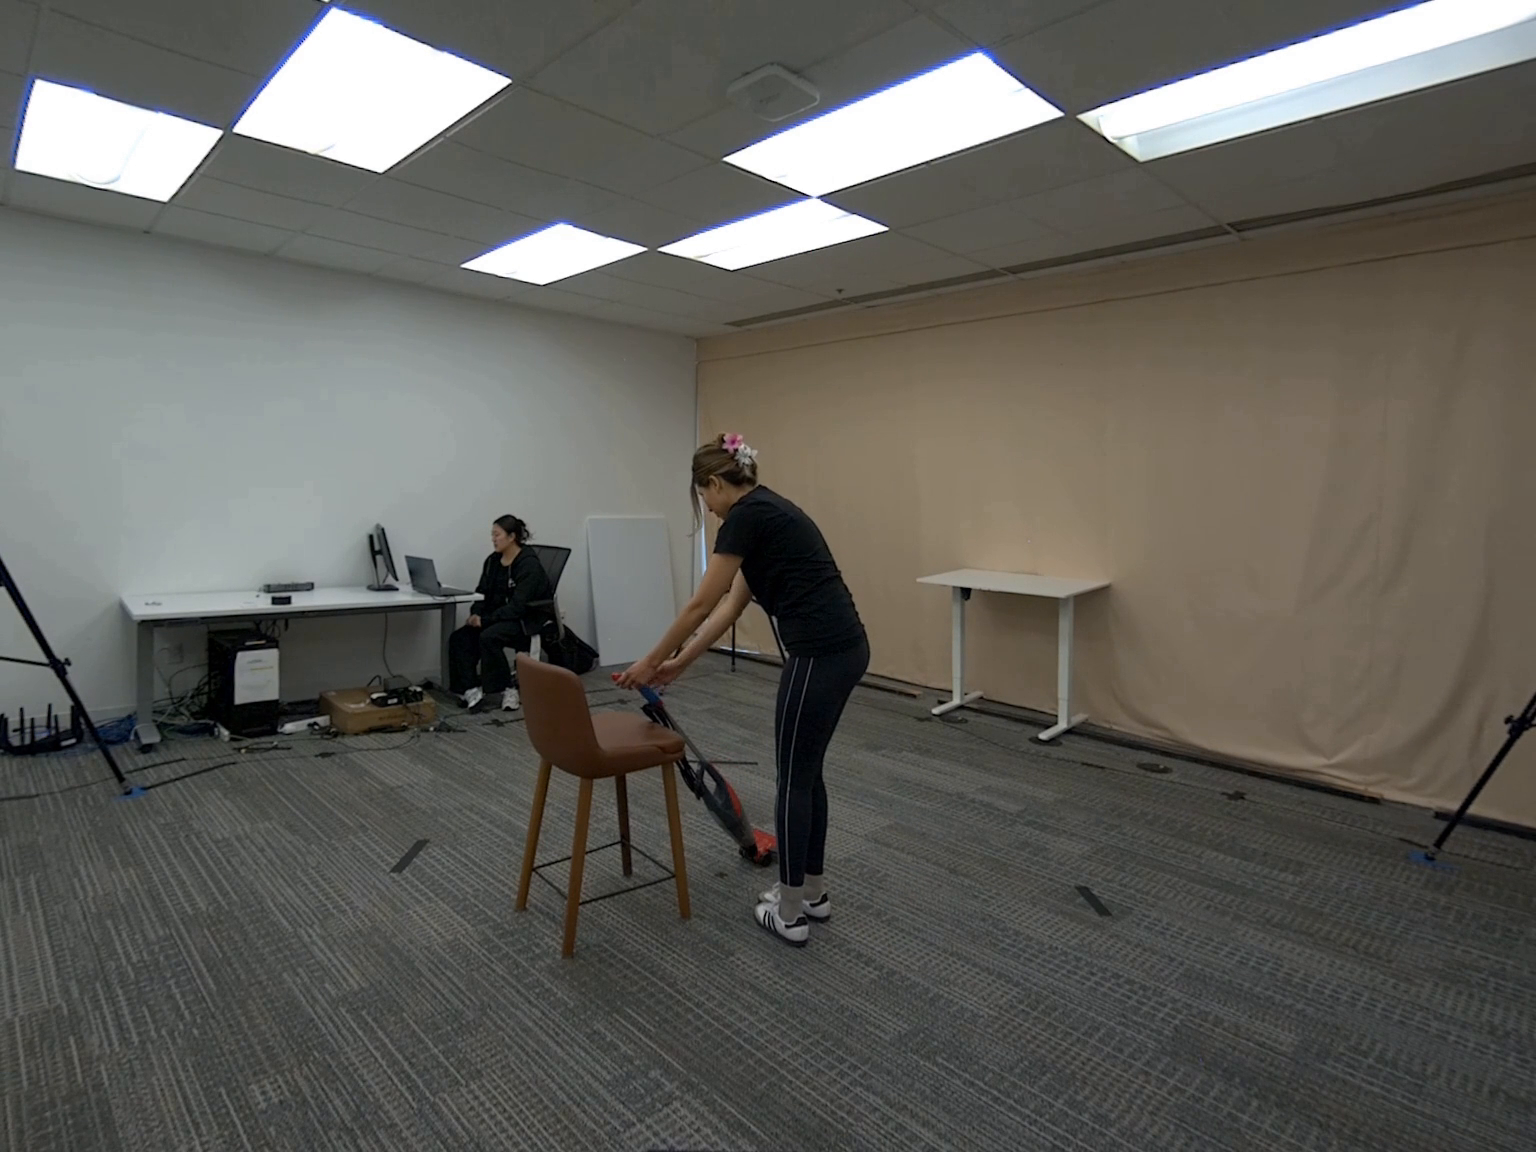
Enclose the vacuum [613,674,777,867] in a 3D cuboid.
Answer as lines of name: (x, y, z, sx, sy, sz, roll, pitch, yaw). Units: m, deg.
vacuum: (-0.262, 0.703, 3.021, 0.258, 1.021, 0.144, -1, 43, 45)
